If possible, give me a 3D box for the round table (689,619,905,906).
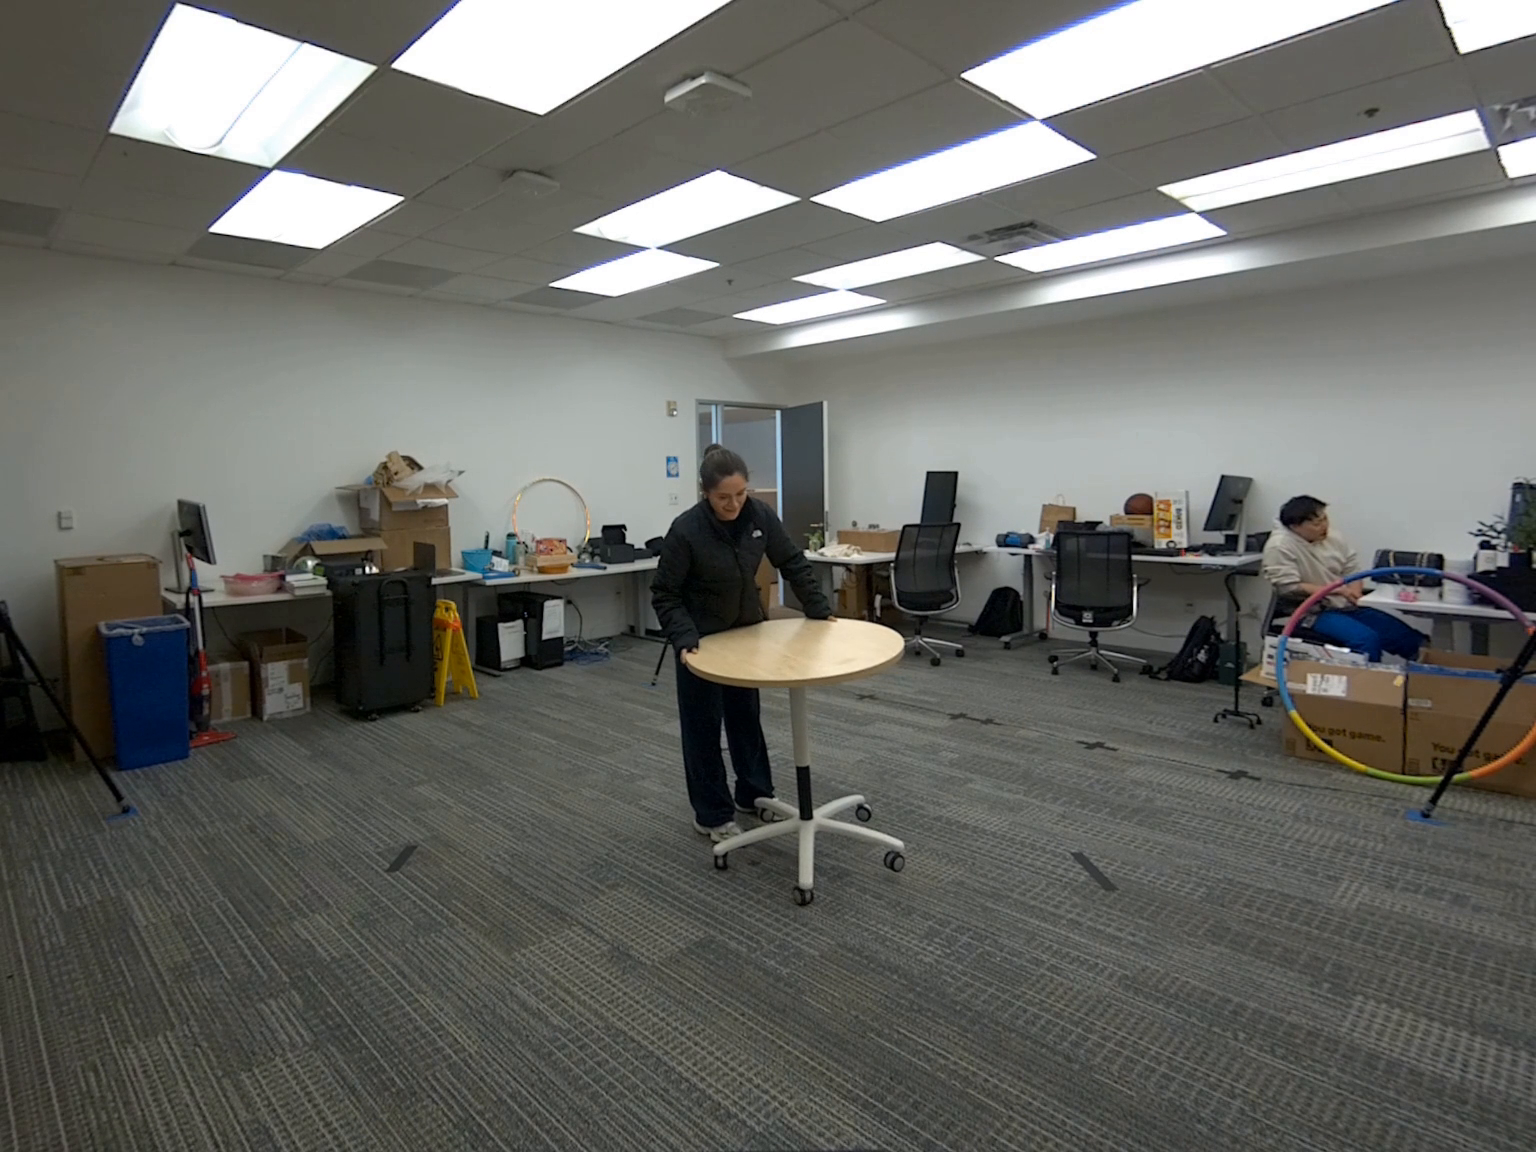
[{"bbox_3d":[0.121,0.626,3.084,0.785,0.780,0.792,-4,9,-1],"label":"round table"}]
